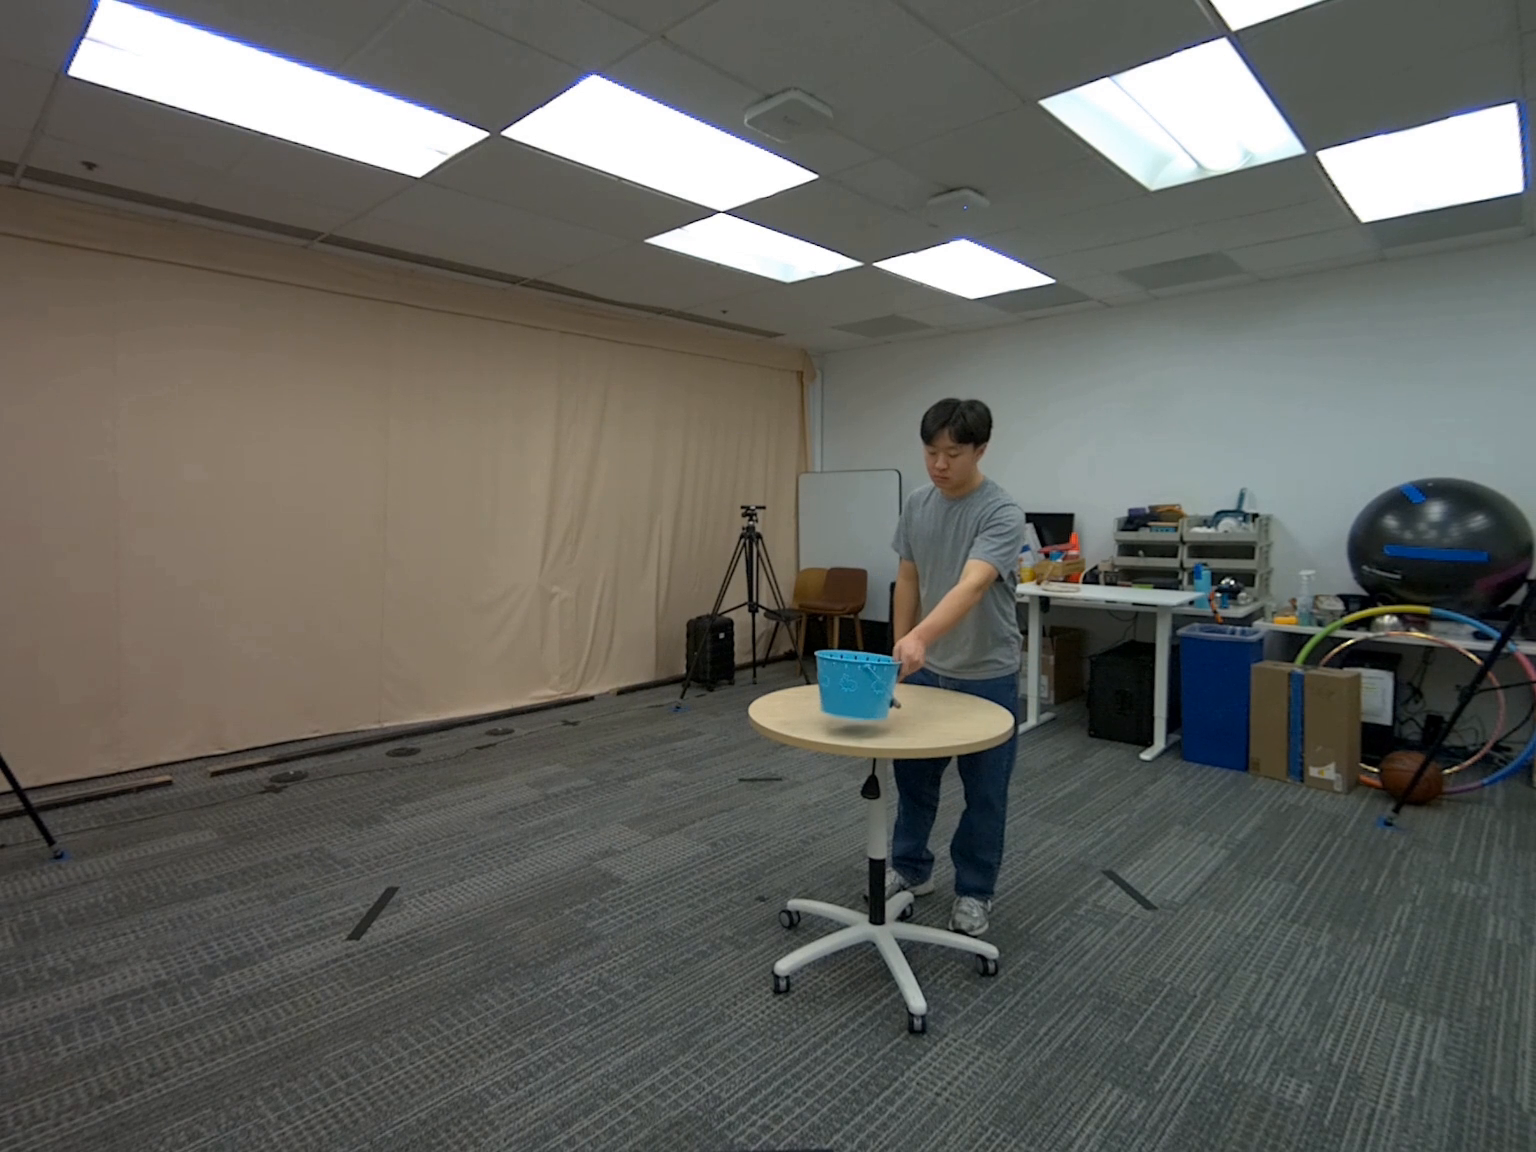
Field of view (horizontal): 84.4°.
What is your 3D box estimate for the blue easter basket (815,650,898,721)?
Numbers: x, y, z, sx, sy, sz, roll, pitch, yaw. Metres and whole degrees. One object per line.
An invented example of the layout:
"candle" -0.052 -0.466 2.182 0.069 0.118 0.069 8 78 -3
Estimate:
"blue easter basket" 0.255 0.298 2.252 0.243 0.156 0.244 4 0 -2
